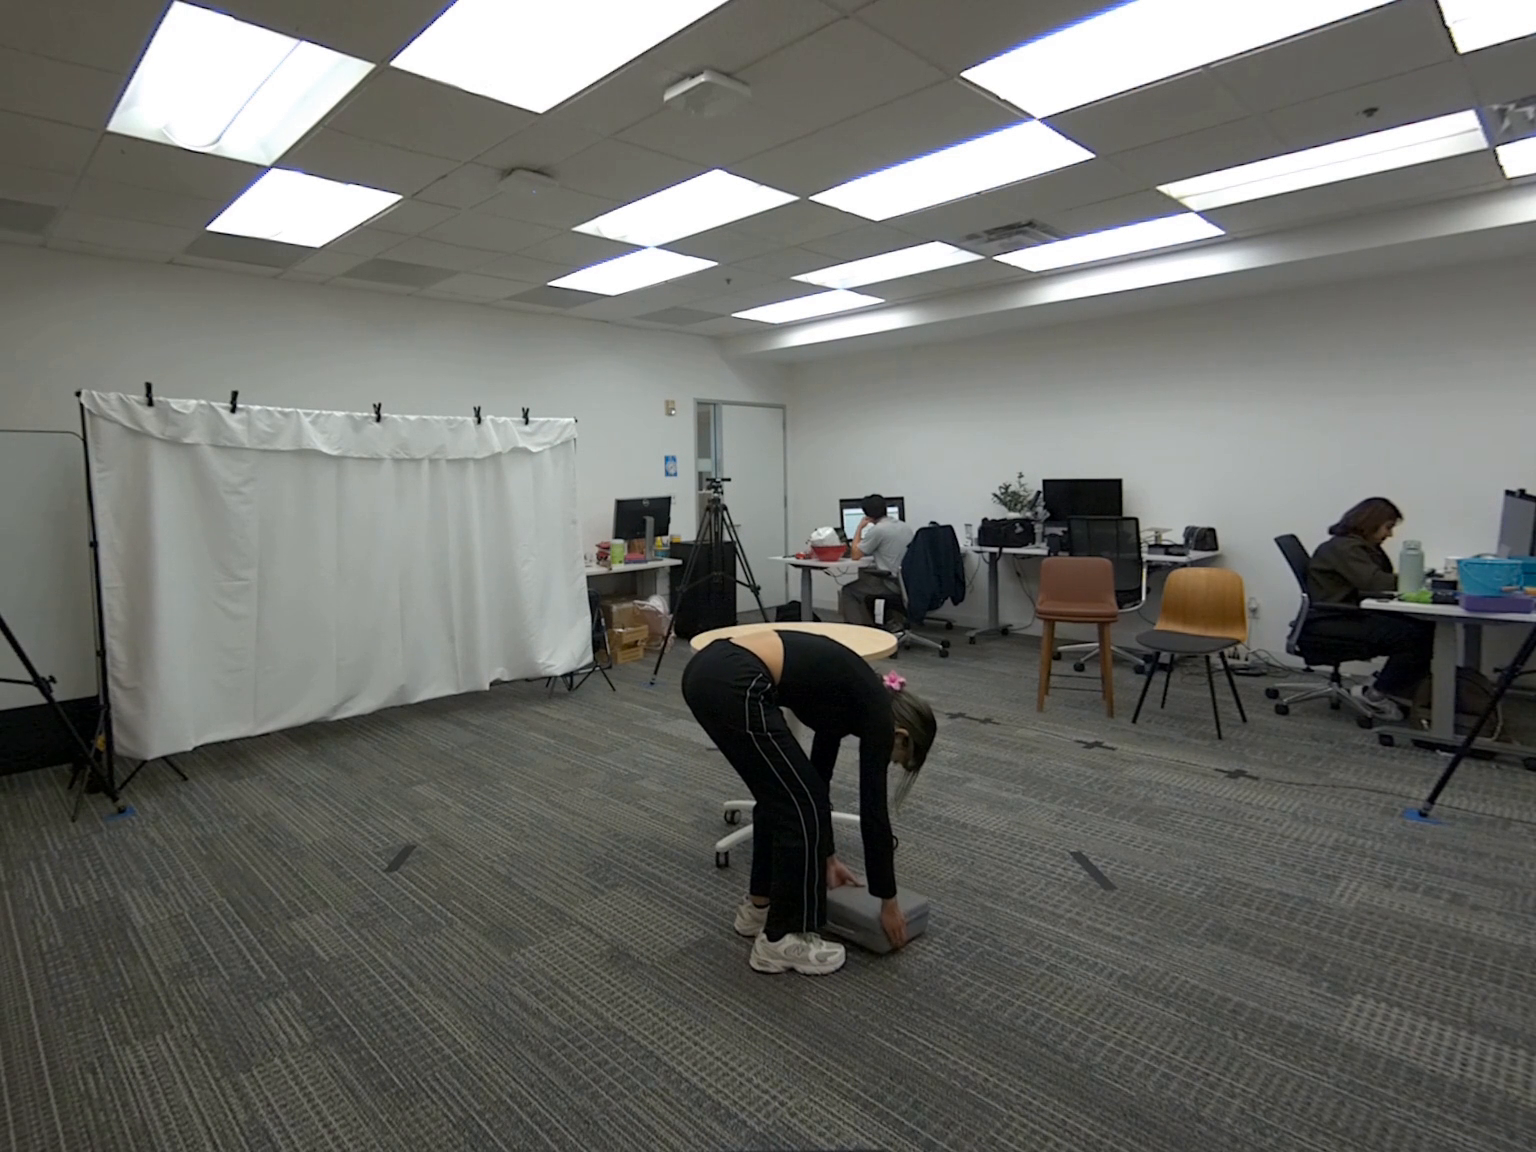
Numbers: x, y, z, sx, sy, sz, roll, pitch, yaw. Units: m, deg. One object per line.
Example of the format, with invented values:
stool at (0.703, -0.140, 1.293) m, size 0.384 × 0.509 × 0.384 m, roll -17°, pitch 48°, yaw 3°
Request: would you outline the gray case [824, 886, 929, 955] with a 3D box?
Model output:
gray case at (0.330, 1.024, 2.618) m, size 0.253 × 0.104 × 0.265 m, roll -4°, pitch 7°, yaw -43°
